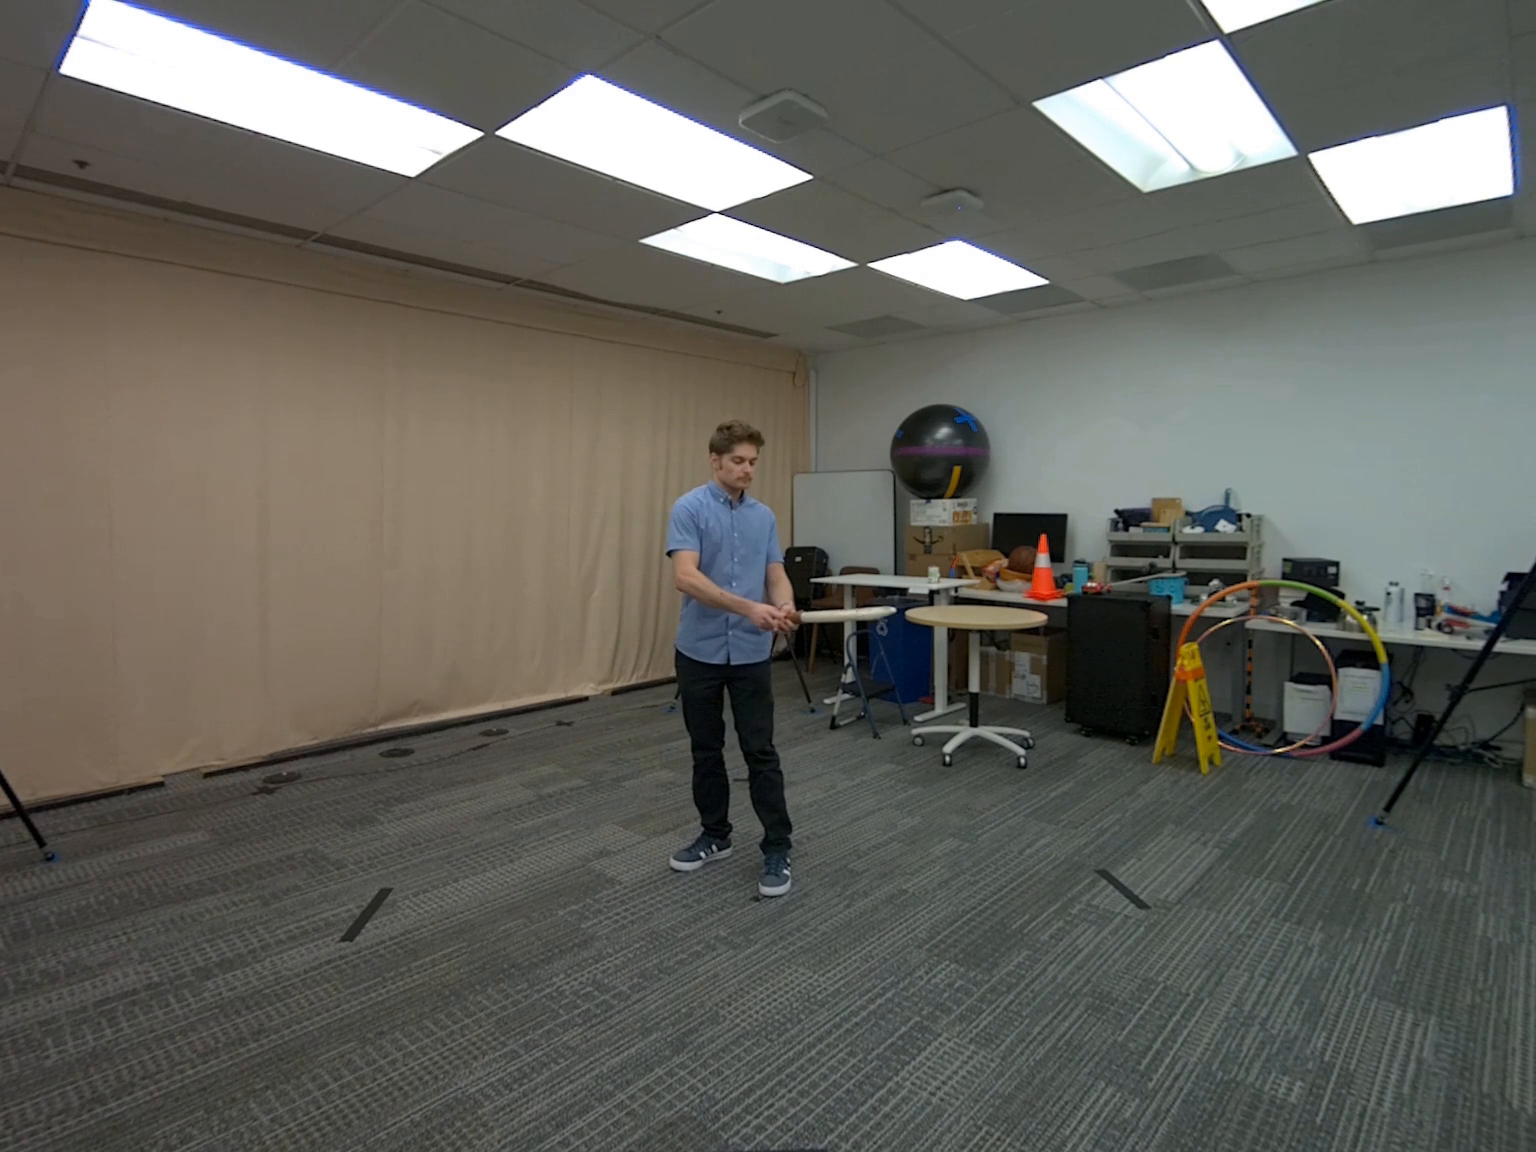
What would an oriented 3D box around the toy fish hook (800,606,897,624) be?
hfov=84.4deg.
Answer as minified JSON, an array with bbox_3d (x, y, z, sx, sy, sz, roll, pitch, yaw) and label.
[{"bbox_3d":[0.185,0.141,2.913,0.522,0.048,0.217,-5,-5,38],"label":"toy fish hook"}]
